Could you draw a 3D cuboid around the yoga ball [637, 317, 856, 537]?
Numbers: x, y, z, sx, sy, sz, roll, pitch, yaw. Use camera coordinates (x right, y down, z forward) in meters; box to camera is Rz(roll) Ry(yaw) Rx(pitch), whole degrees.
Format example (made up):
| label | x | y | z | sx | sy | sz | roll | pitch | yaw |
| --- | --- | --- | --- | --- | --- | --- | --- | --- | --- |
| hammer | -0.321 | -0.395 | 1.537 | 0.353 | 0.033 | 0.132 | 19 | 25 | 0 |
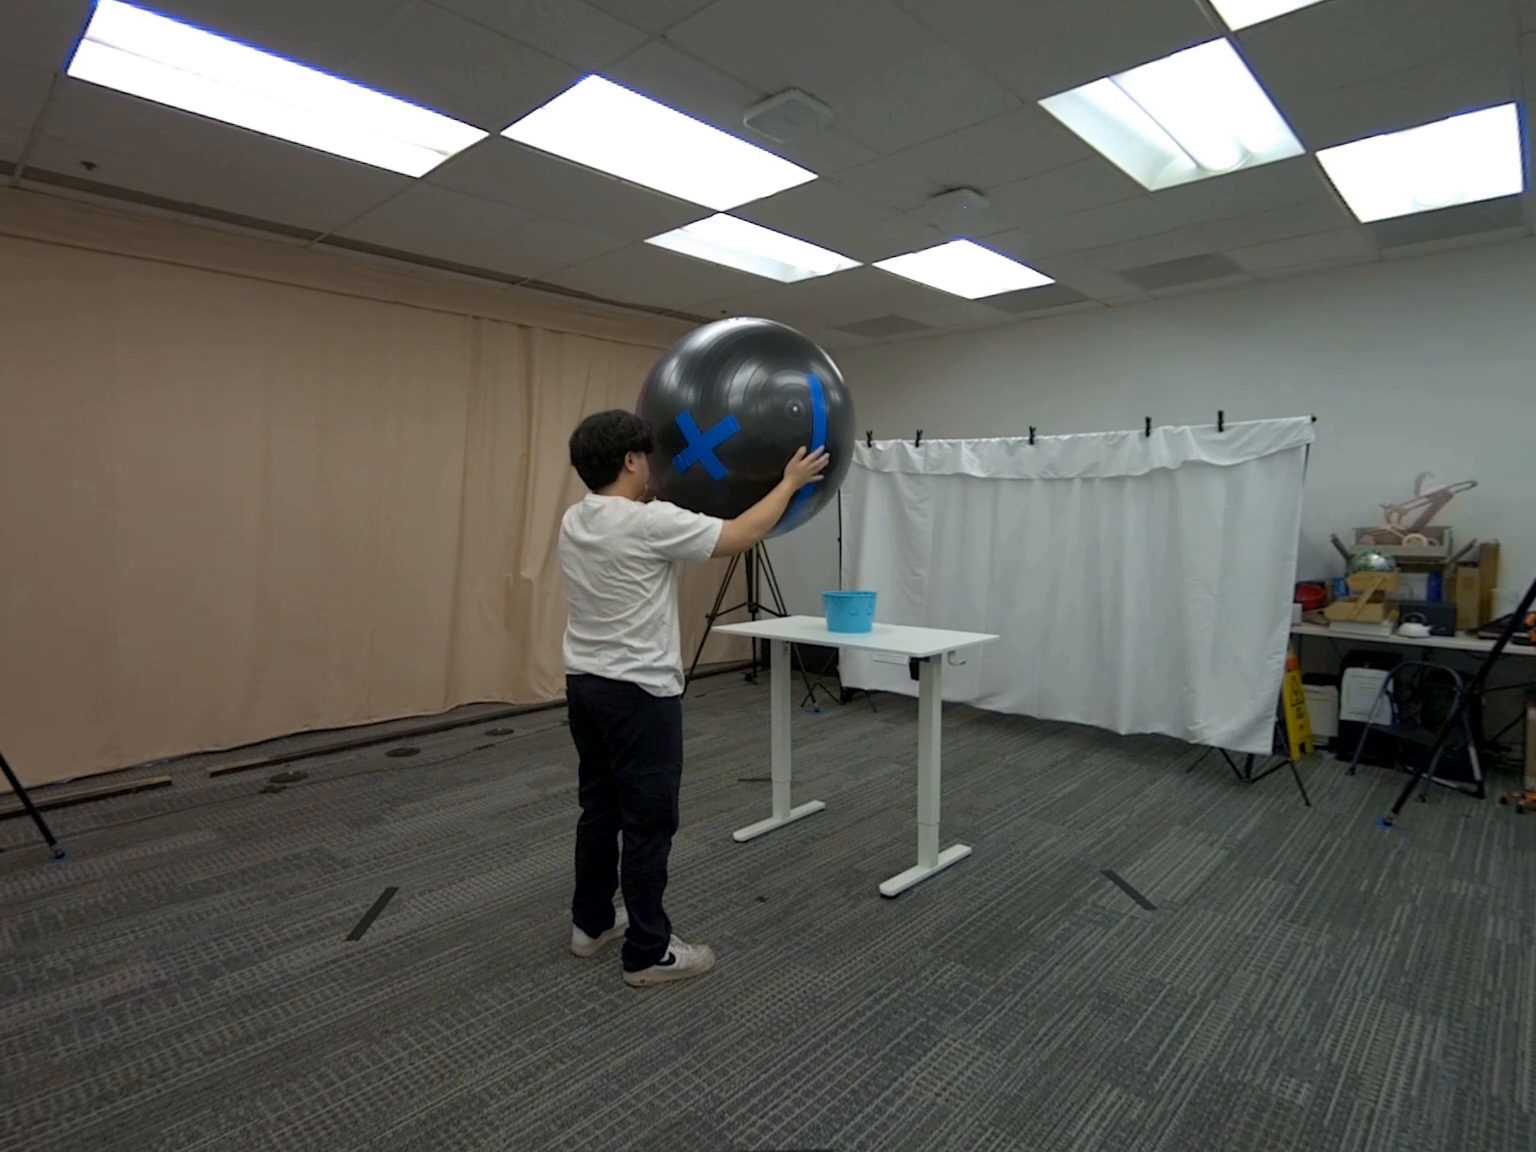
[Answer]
| label | x | y | z | sx | sy | sz | roll | pitch | yaw |
| --- | --- | --- | --- | --- | --- | --- | --- | --- | --- |
| yoga ball | -0.076 | -0.489 | 2.903 | 0.757 | 0.756 | 0.760 | 0 | 4 | -2 |
